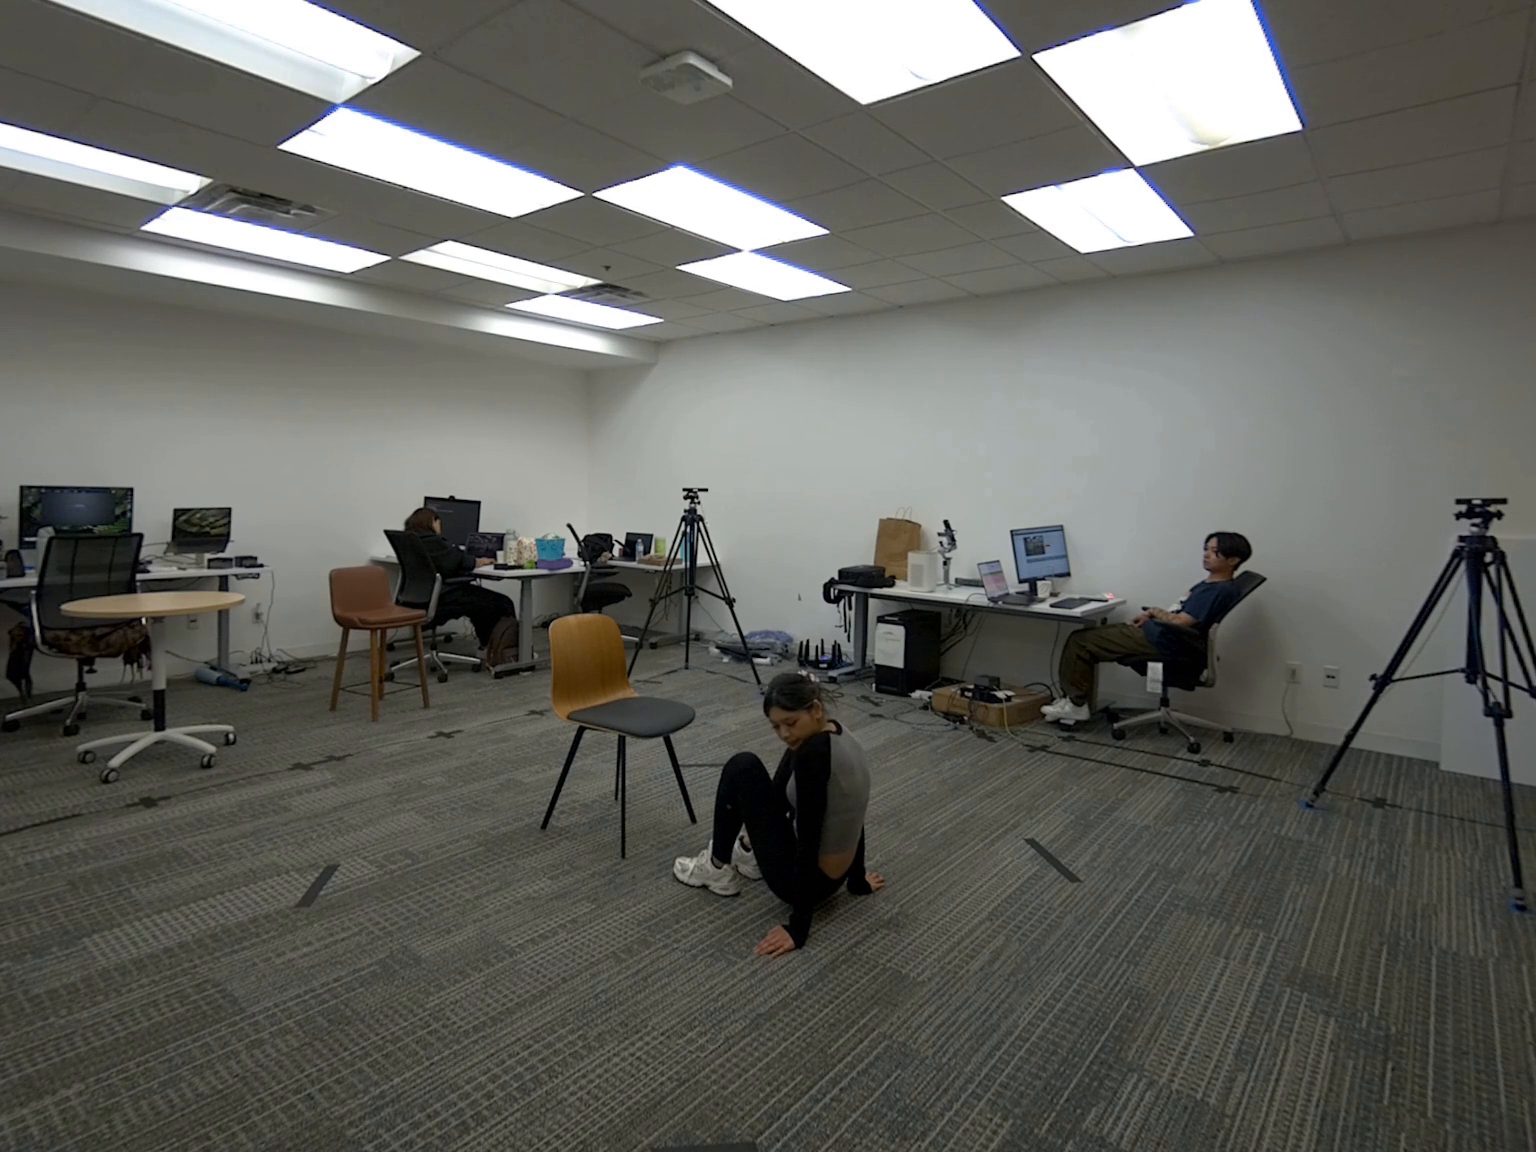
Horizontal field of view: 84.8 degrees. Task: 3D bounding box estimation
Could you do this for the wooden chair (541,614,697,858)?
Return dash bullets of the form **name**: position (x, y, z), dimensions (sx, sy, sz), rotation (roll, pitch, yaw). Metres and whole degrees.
- **wooden chair**: position (-0.605, 0.600, 3.462), dimensions (0.538, 0.877, 0.464), rotation (-2, 0, 35)
